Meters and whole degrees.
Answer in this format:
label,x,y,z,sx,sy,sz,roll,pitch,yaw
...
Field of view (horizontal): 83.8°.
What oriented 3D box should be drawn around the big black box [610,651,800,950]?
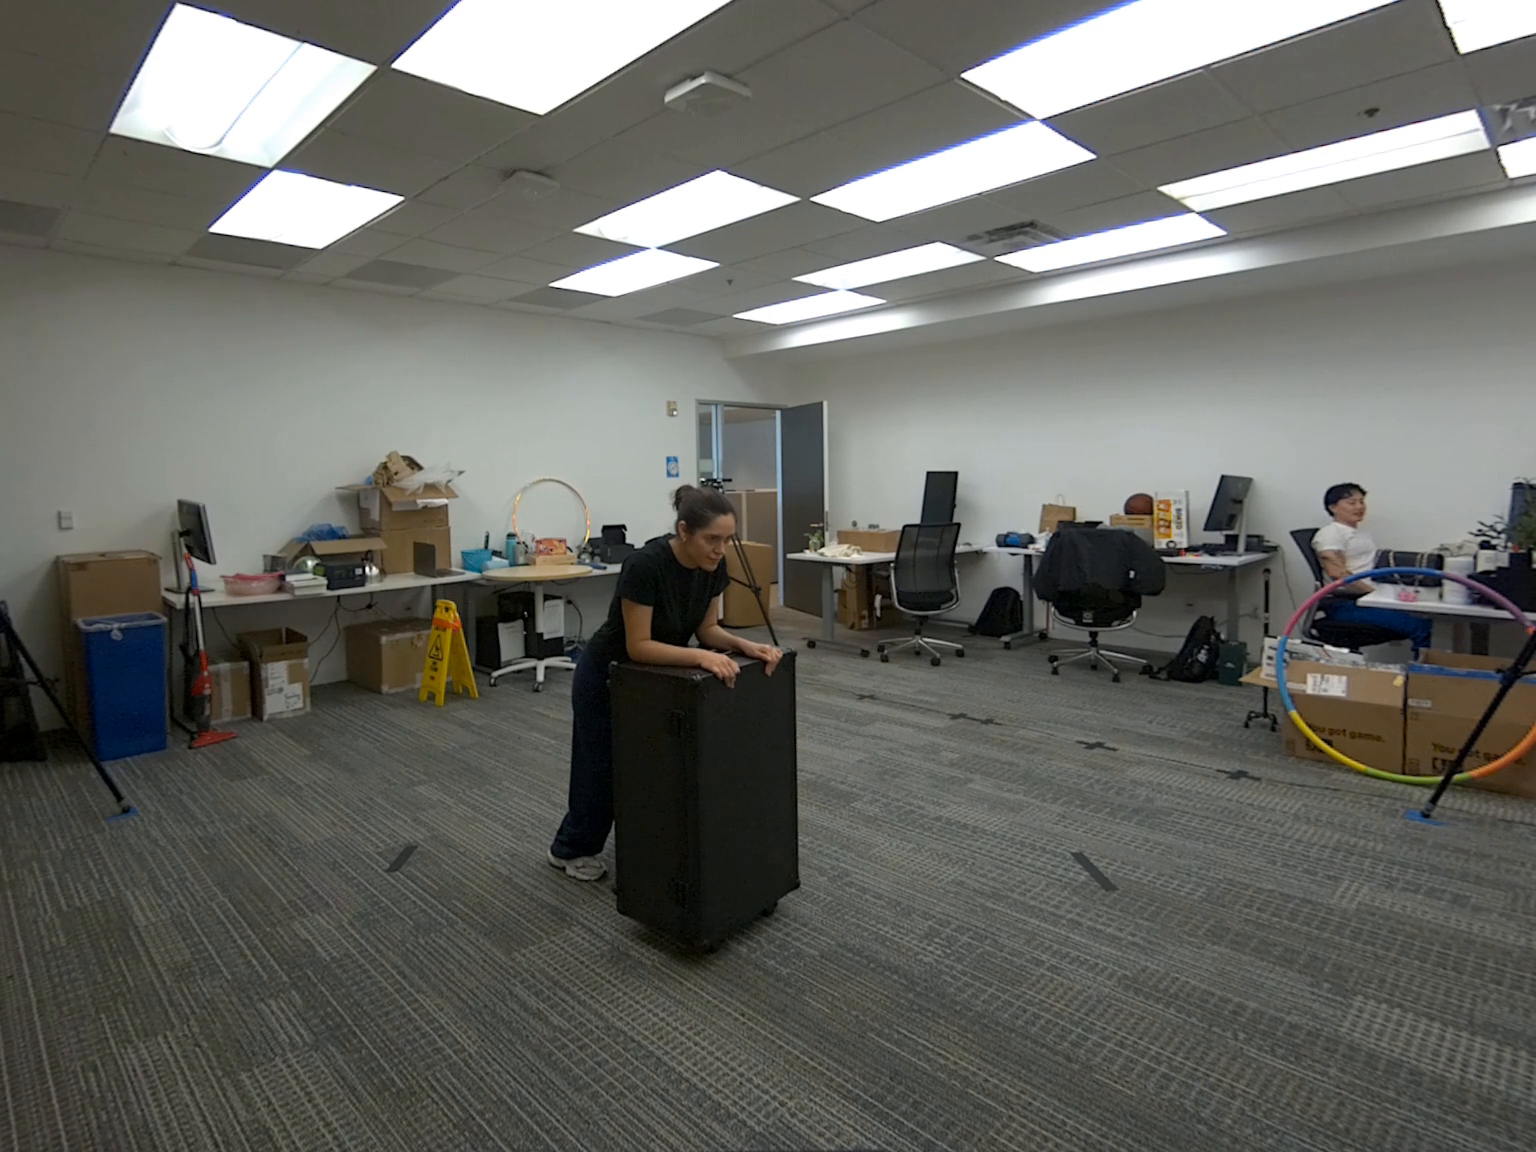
label,x,y,z,sx,sy,sz,roll,pitch,yaw
big black box,-0.194,0.615,2.695,0.408,0.858,0.508,3,6,39
